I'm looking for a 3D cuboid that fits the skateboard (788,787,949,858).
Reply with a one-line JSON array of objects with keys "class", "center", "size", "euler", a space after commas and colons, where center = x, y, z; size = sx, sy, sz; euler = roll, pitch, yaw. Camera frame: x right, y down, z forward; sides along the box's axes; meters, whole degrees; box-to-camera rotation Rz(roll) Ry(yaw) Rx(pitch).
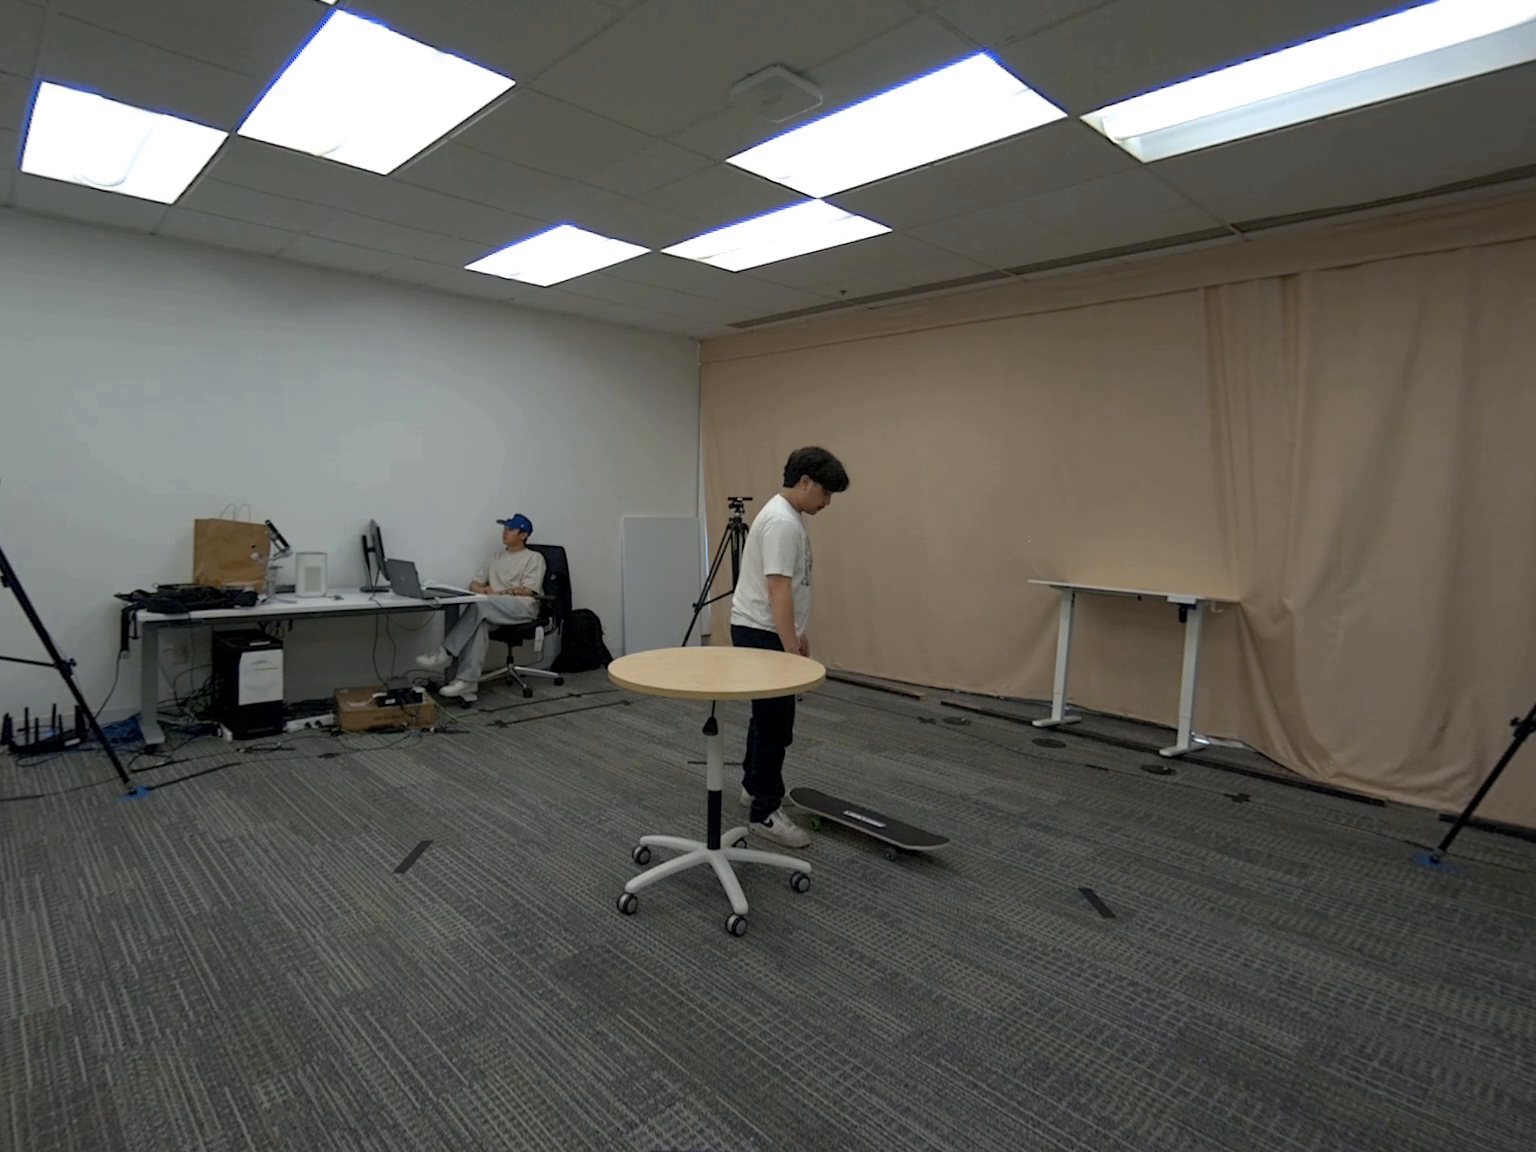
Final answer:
[{"class": "skateboard", "center": [0.390, 1.040, 3.487], "size": [0.189, 0.110, 0.806], "euler": [-2, 6, -43]}]
